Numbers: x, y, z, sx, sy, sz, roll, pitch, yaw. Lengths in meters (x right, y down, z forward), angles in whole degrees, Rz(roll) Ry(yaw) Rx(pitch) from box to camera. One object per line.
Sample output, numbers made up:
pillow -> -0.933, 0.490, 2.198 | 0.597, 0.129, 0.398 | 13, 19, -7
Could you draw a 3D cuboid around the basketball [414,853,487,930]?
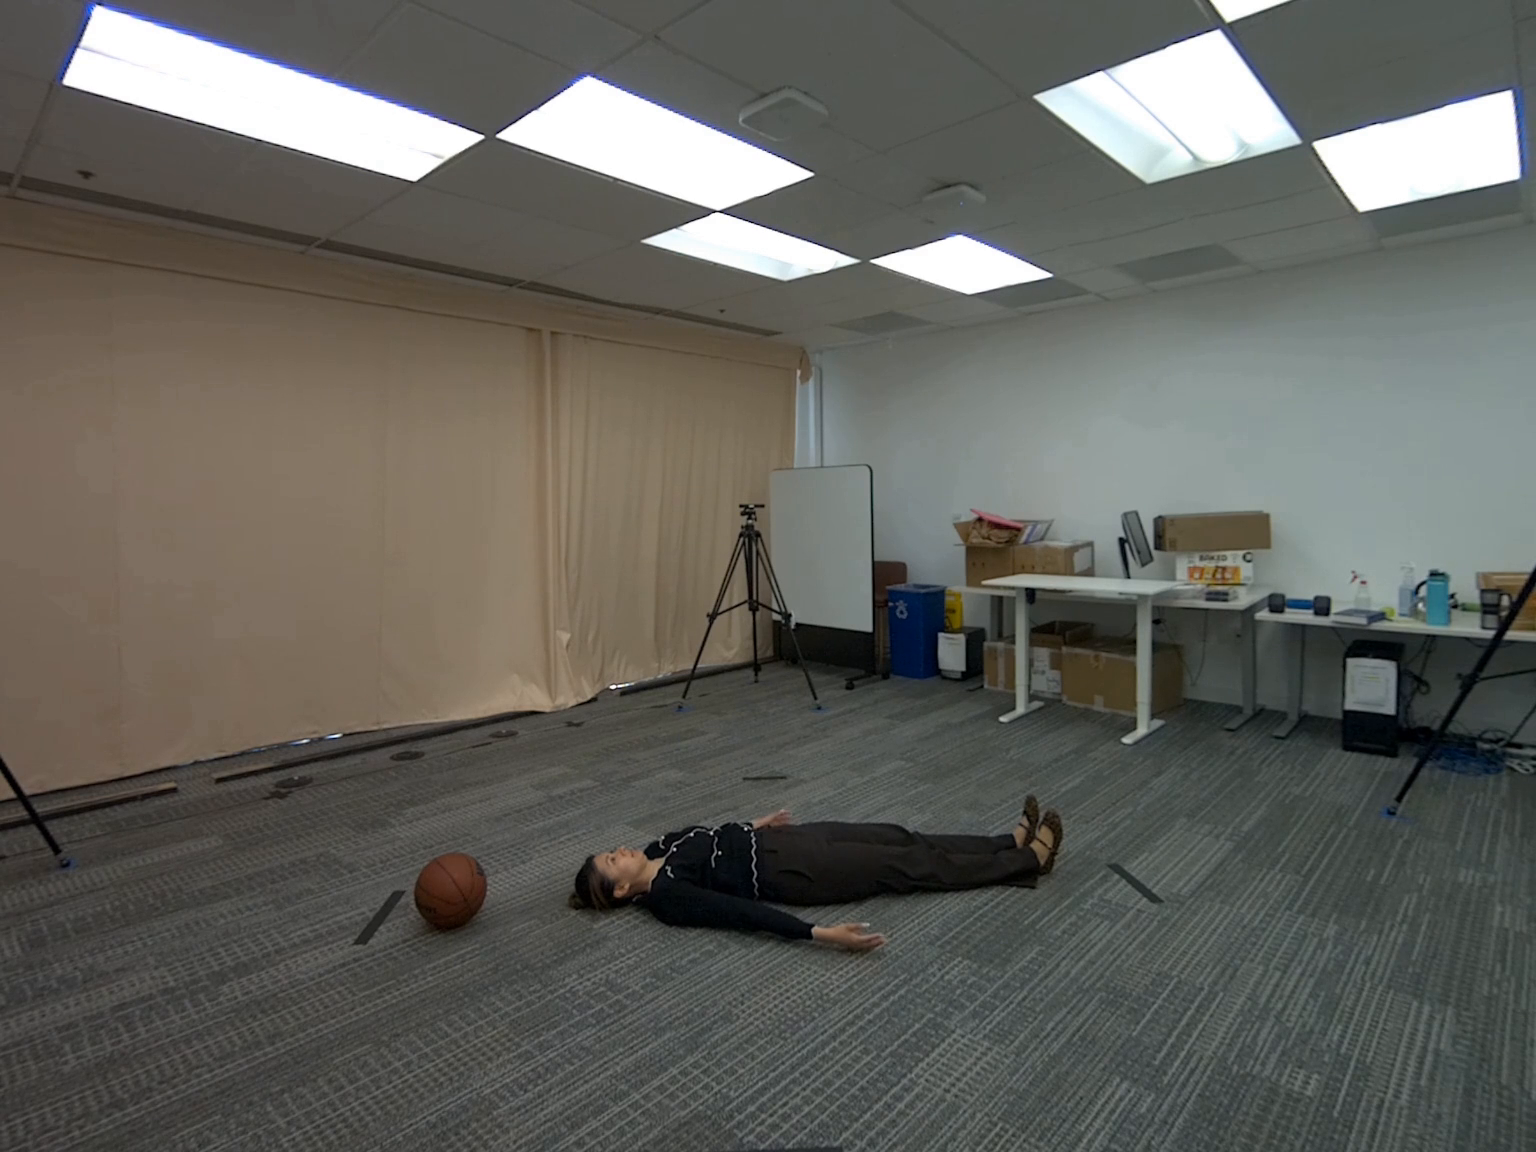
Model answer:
basketball -> -1.068, 1.058, 2.839 | 0.236, 0.235, 0.237 | -1, 4, -2
